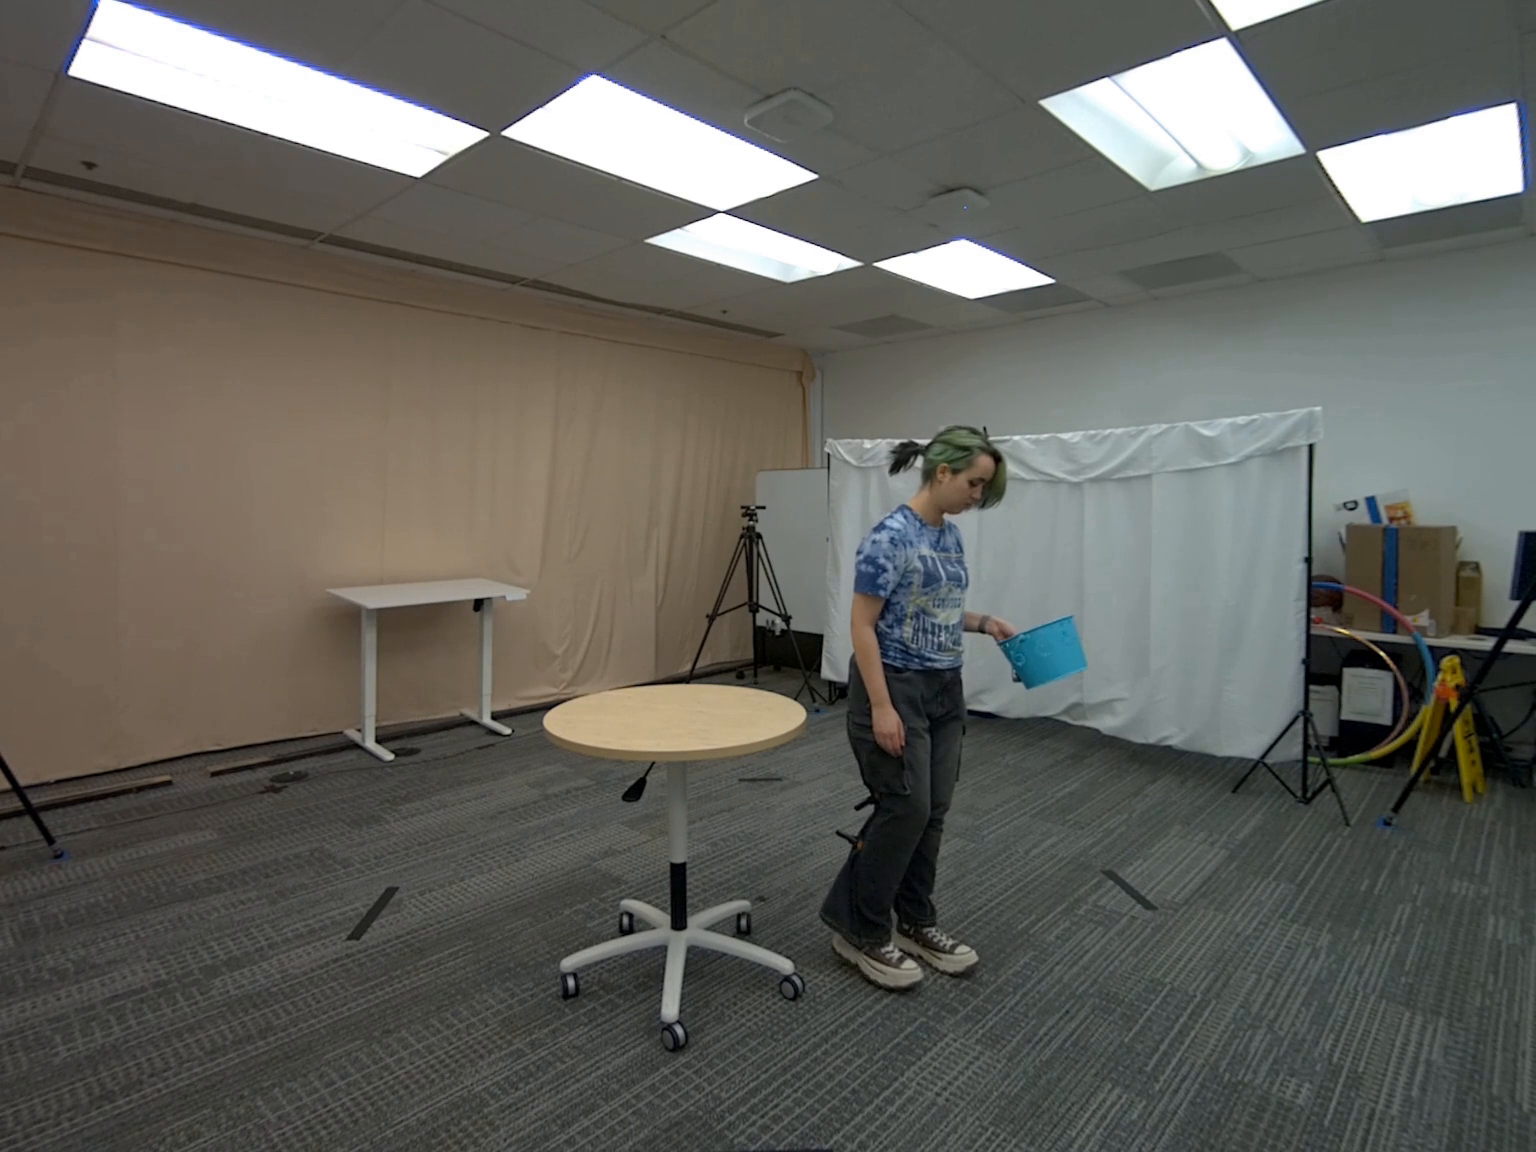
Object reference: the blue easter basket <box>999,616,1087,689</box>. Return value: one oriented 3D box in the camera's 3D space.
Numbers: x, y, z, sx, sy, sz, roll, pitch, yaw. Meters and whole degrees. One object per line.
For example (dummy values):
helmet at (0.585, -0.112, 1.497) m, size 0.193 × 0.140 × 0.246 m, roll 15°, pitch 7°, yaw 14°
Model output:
blue easter basket at (0.814, 0.227, 2.431) m, size 0.242 × 0.158 × 0.242 m, roll -17°, pitch -13°, yaw -6°
